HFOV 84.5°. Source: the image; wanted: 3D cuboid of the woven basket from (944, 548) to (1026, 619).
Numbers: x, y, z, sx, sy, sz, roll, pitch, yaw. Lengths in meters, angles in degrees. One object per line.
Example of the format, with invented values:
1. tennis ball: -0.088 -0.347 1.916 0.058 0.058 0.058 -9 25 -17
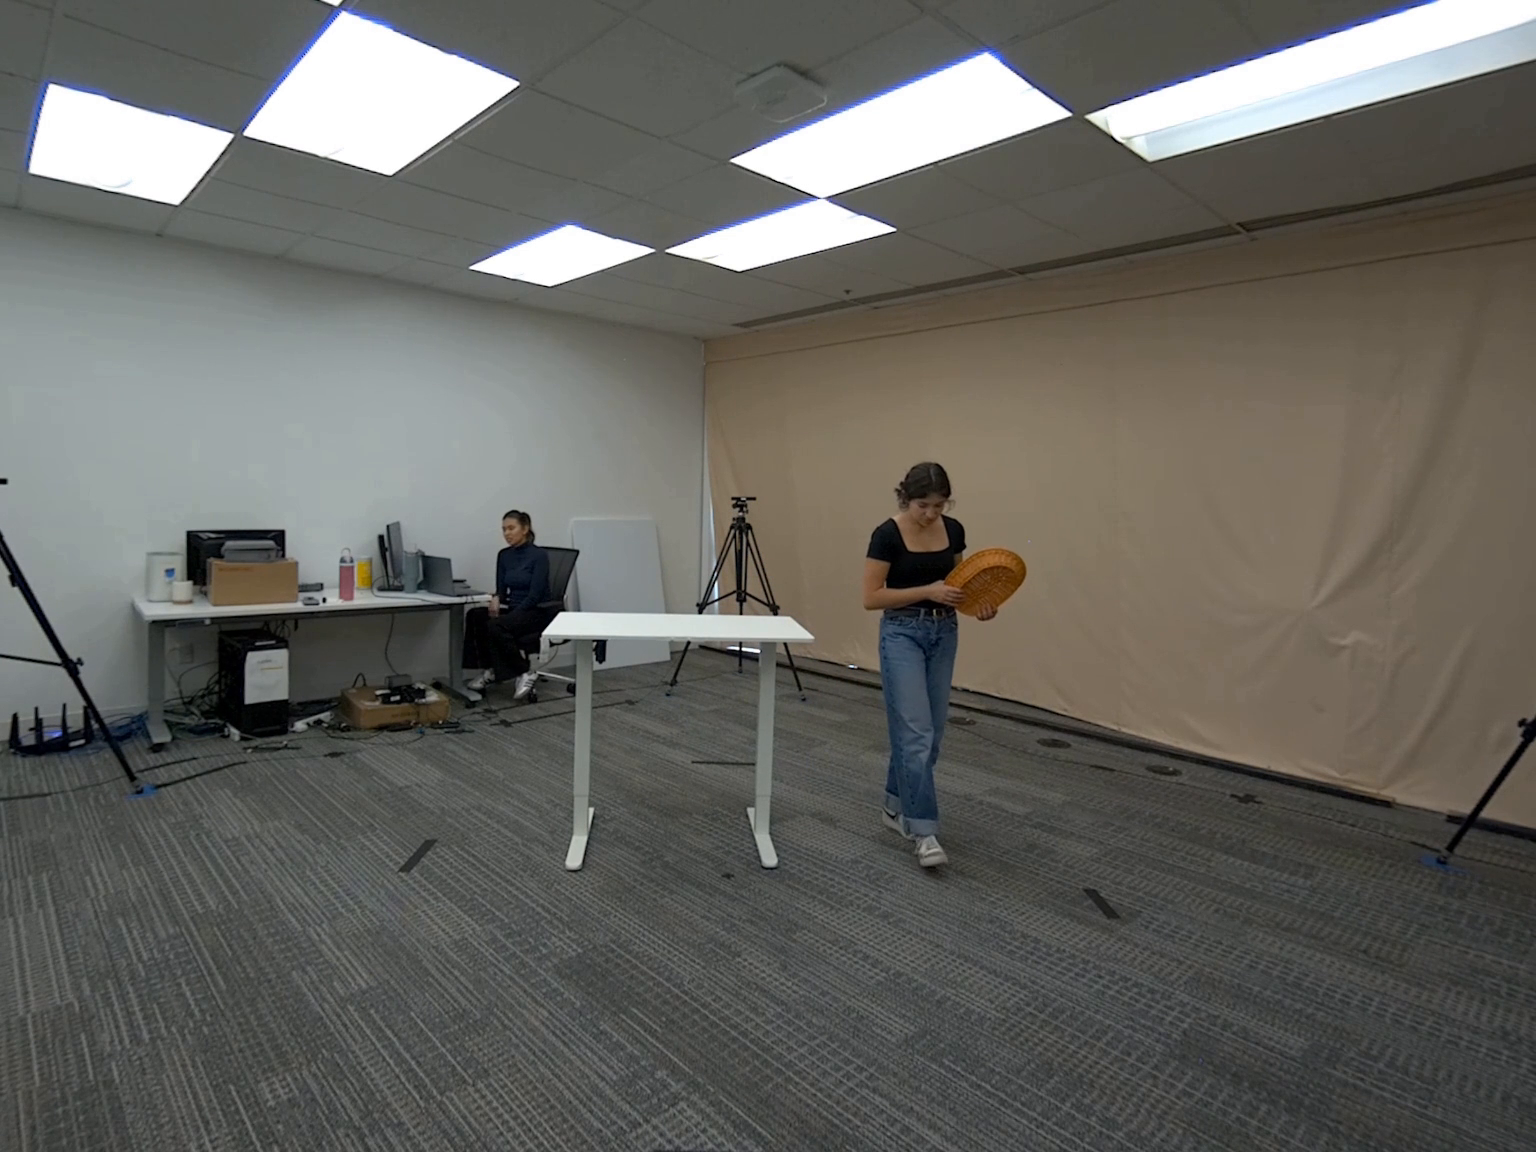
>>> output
1. woven basket: 0.844 0.043 3.281 0.250 0.349 0.074 28 36 -9
